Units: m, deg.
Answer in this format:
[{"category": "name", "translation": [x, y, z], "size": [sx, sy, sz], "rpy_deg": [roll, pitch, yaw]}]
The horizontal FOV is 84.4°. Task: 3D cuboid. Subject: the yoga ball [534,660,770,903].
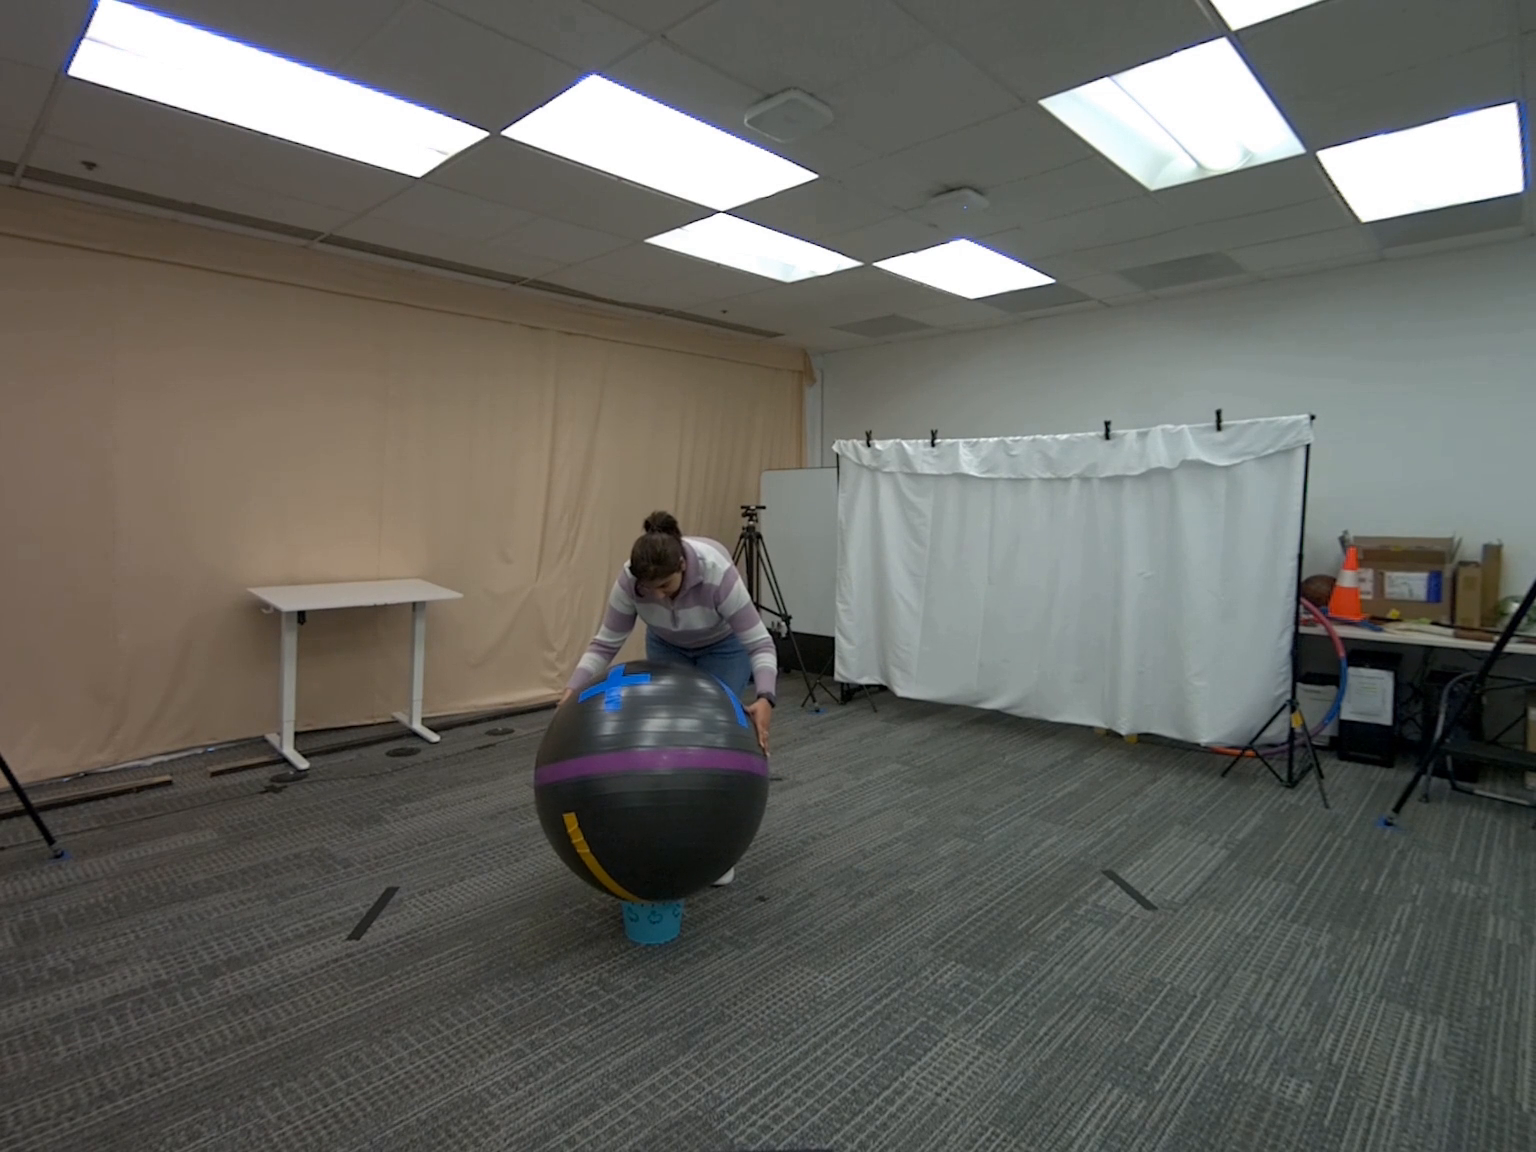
[{"category": "yoga ball", "translation": [-0.387, 0.661, 2.738], "size": [0.757, 0.756, 0.760], "rpy_deg": [0, 4, -2]}]
